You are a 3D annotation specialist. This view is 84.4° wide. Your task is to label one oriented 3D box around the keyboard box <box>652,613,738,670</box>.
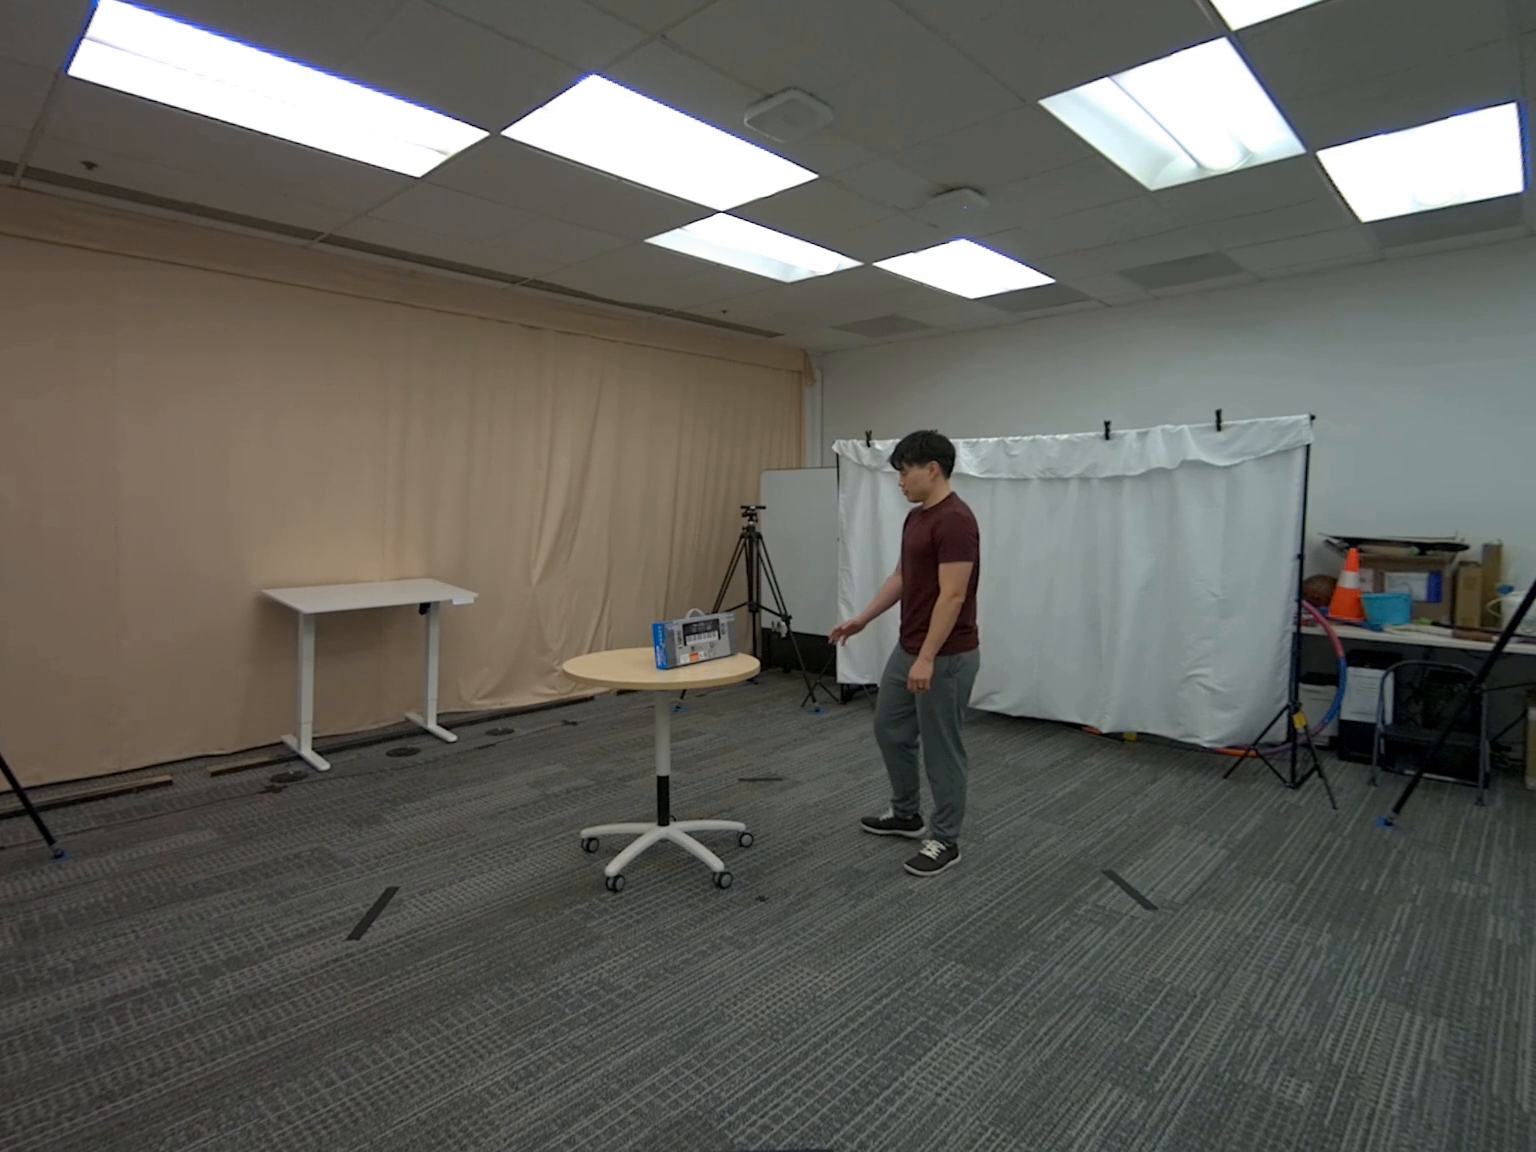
[{"bbox_3d":[-0.275,0.253,3.326,0.061,0.176,0.424,-6,0,37],"label":"keyboard box"}]
